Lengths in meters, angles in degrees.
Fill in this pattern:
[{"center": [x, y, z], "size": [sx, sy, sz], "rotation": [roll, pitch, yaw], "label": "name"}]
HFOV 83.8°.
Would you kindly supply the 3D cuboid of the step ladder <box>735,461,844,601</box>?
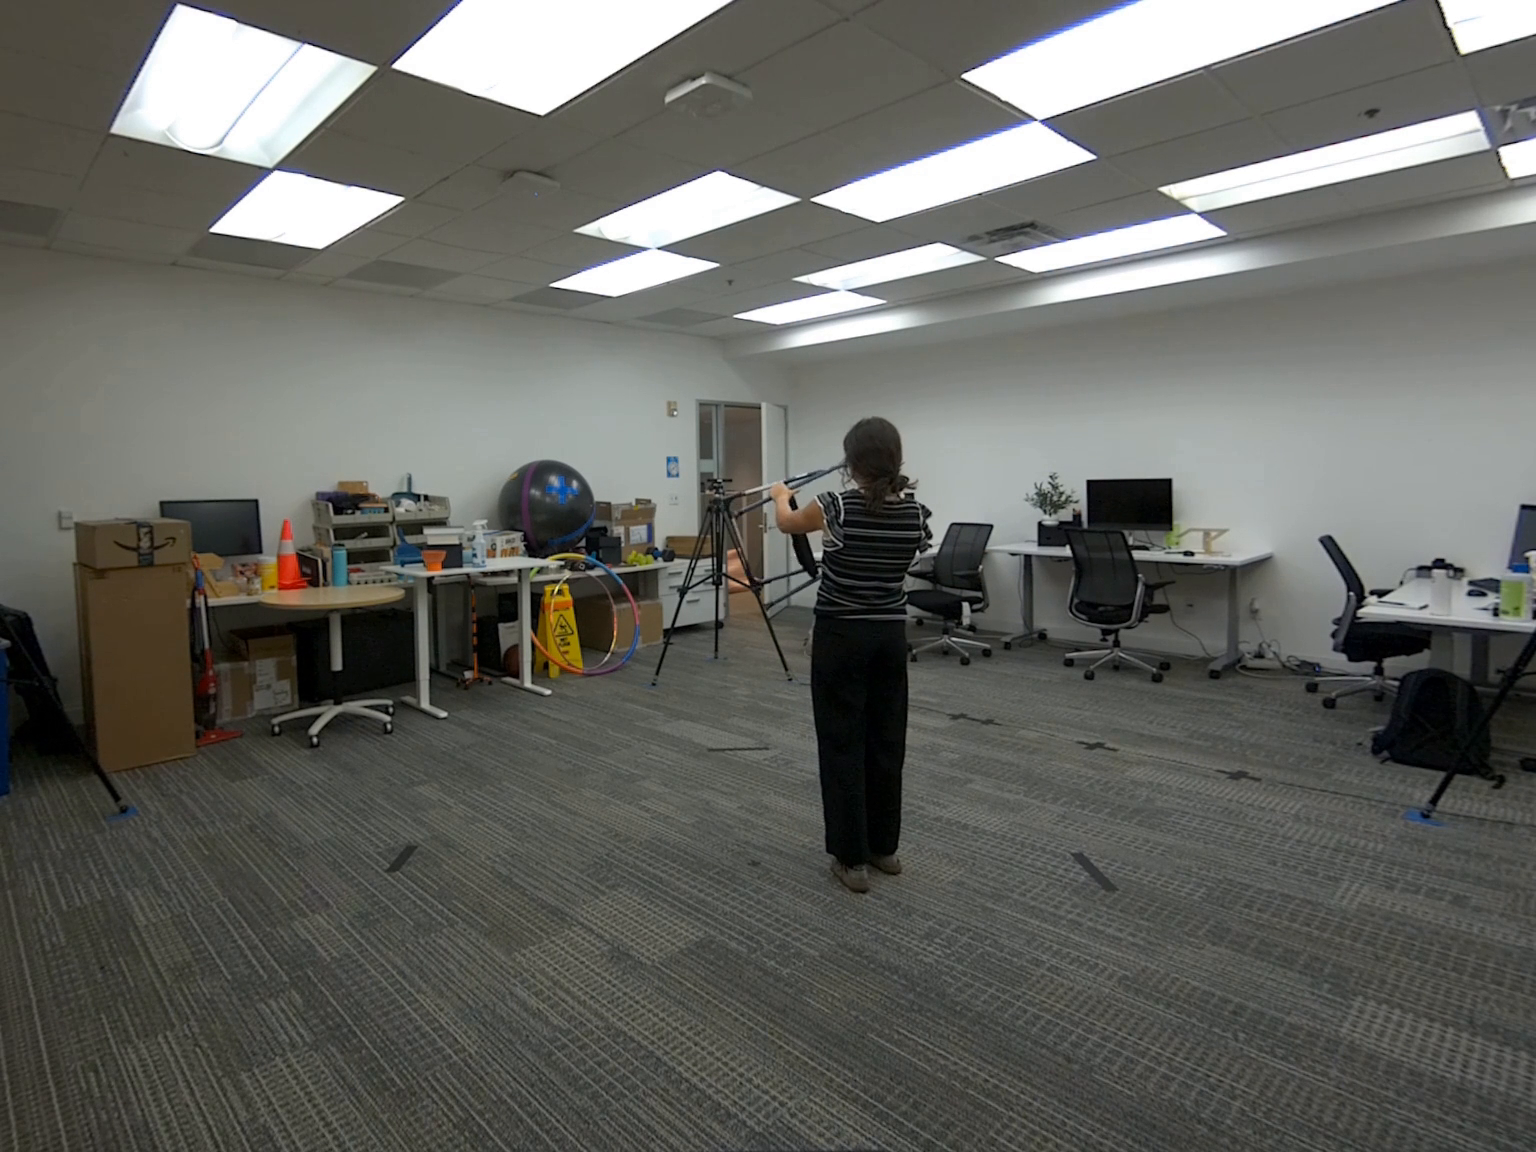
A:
[{"center": [0.171, -0.189, 3.500], "size": [0.604, 0.423, 0.357], "rotation": [-20, 16, -5], "label": "step ladder"}]
